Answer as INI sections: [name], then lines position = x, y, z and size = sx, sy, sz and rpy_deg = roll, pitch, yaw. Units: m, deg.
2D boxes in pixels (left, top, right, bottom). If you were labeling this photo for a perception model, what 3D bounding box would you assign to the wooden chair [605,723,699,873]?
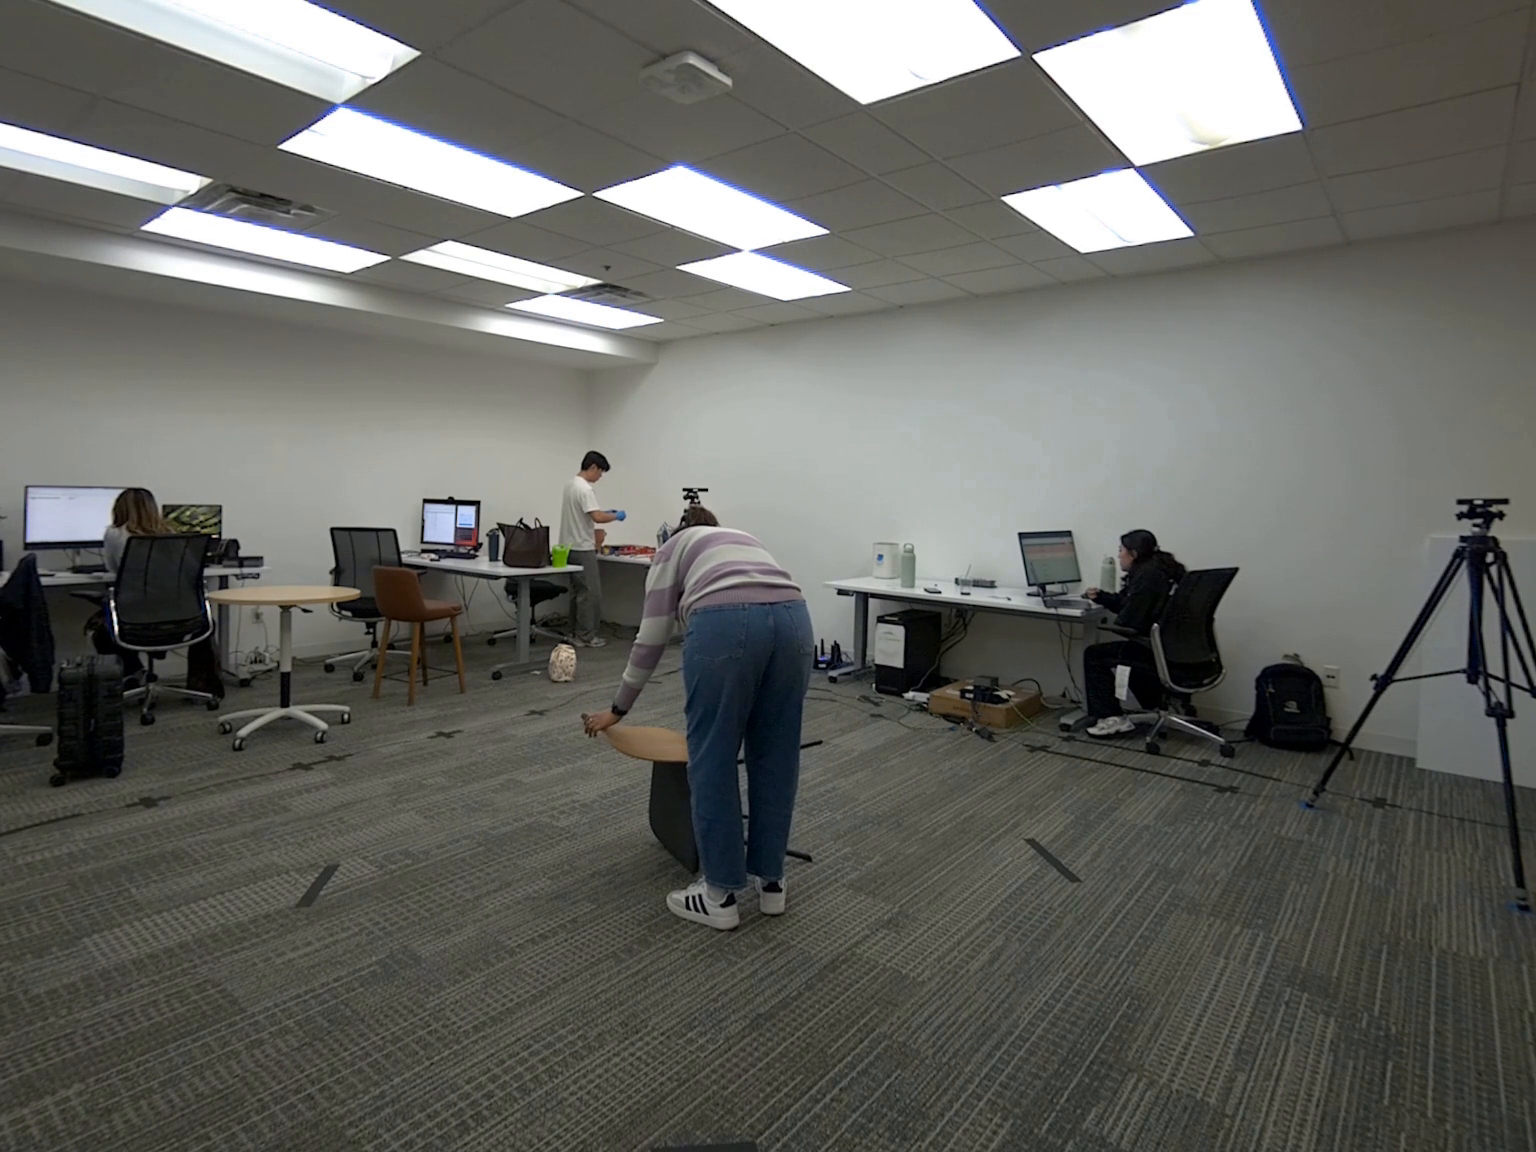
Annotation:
[wooden chair]
position = -0.311, 0.798, 3.197
size = 0.851, 0.523, 0.492
rpy_deg = 9, 0, -29
